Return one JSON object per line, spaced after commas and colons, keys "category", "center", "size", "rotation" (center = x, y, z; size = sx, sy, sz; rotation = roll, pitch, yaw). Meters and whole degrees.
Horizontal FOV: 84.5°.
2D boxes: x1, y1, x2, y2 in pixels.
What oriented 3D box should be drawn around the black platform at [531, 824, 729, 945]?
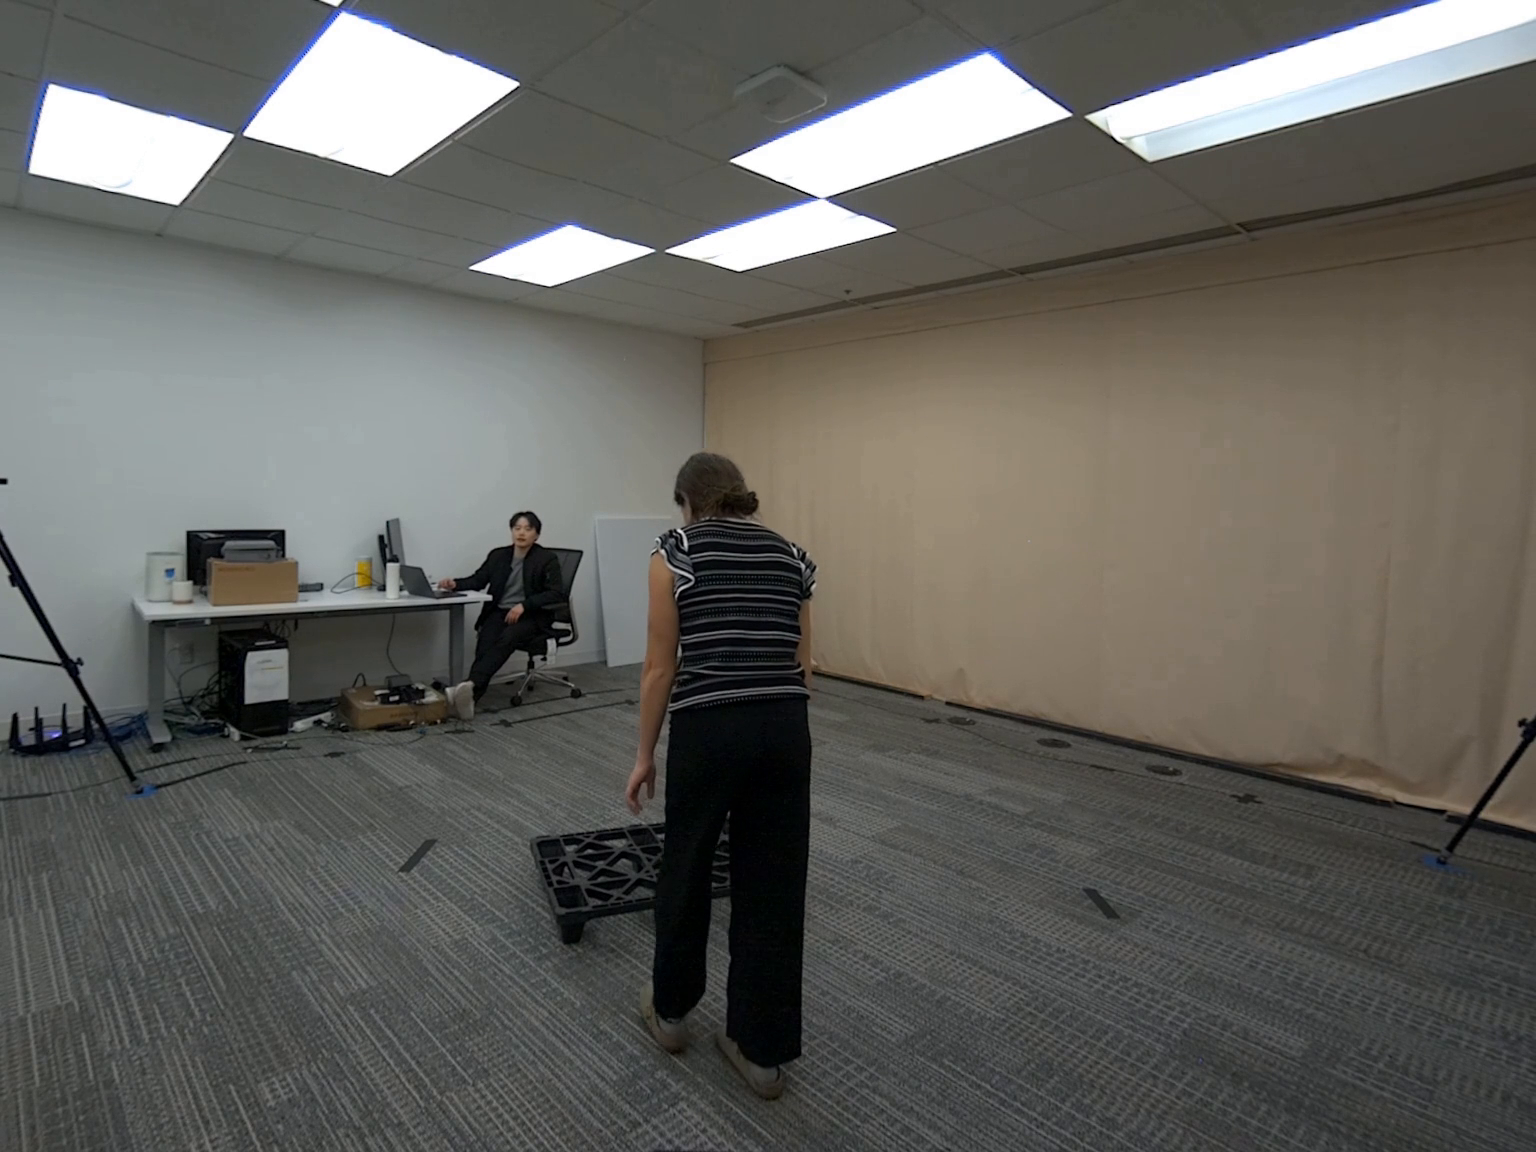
{"category": "black platform", "center": [-0.400, 1.049, 2.946], "size": [0.792, 0.143, 0.617], "rotation": [-1, 5, -22]}
